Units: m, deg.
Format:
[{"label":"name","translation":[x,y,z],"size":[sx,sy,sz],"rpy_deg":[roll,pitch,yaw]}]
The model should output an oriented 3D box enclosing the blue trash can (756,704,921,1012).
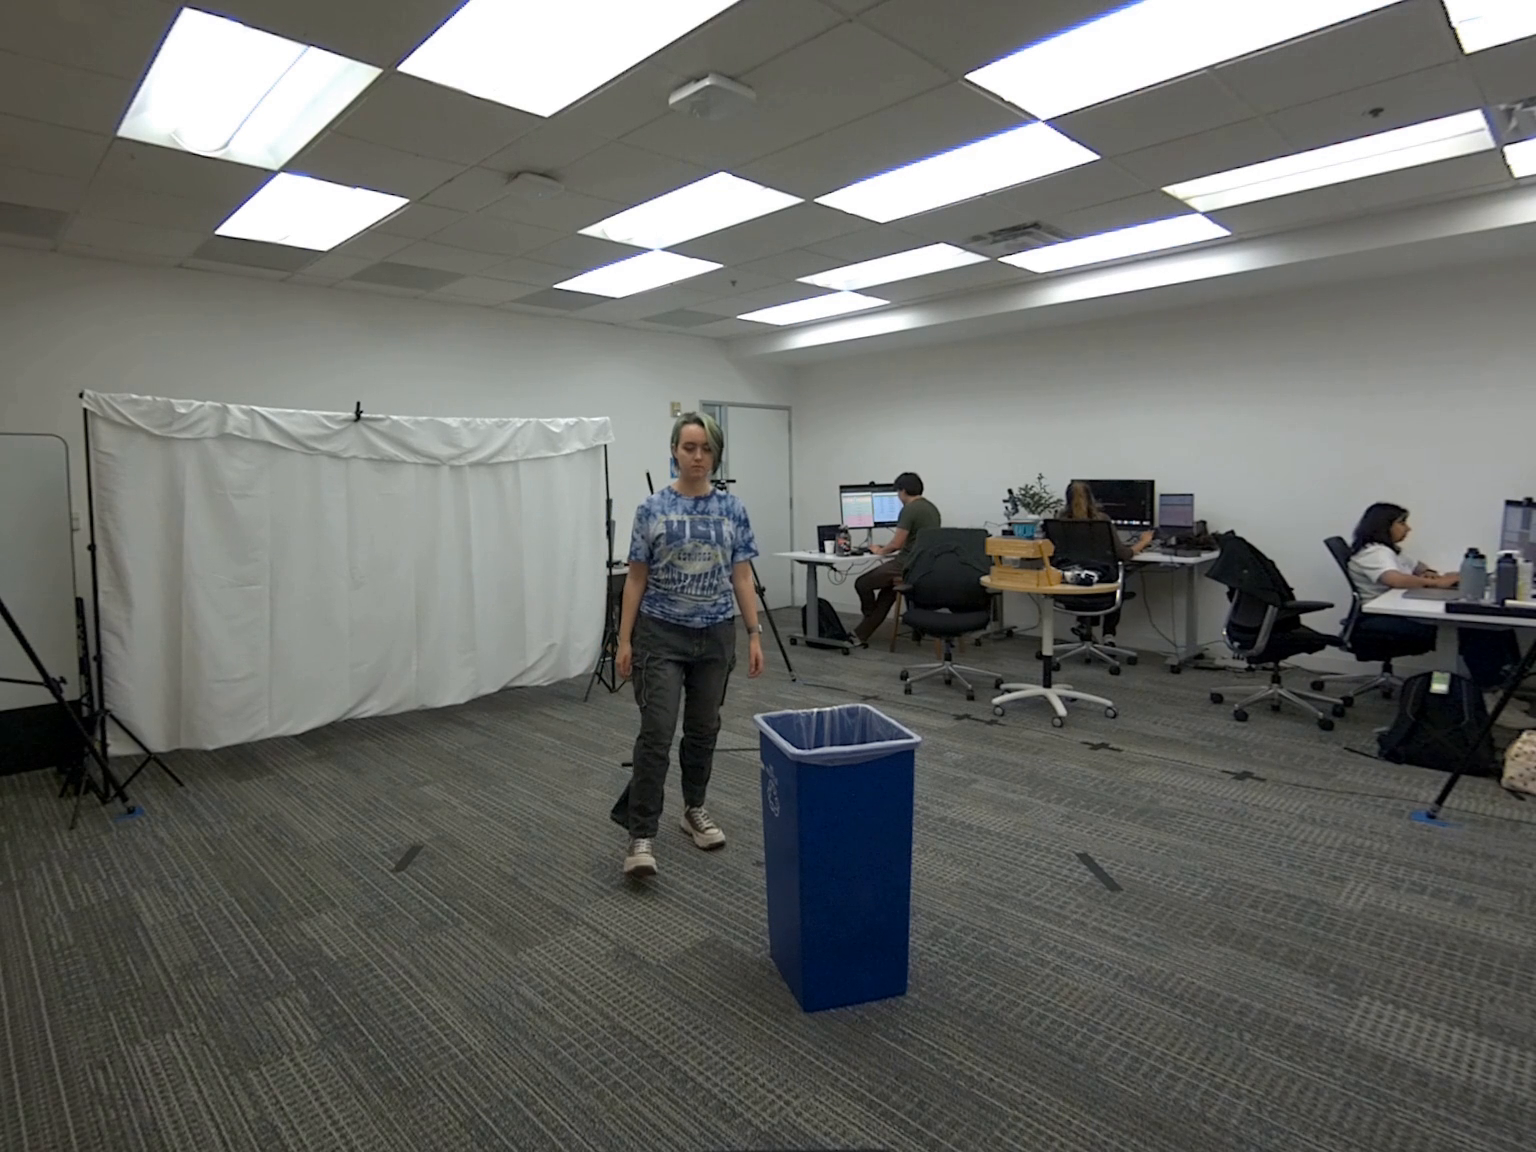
[{"label":"blue trash can","translation":[0.196,0.772,2.380],"size":[0.373,0.710,0.381],"rpy_deg":[-3,5,-16]}]
